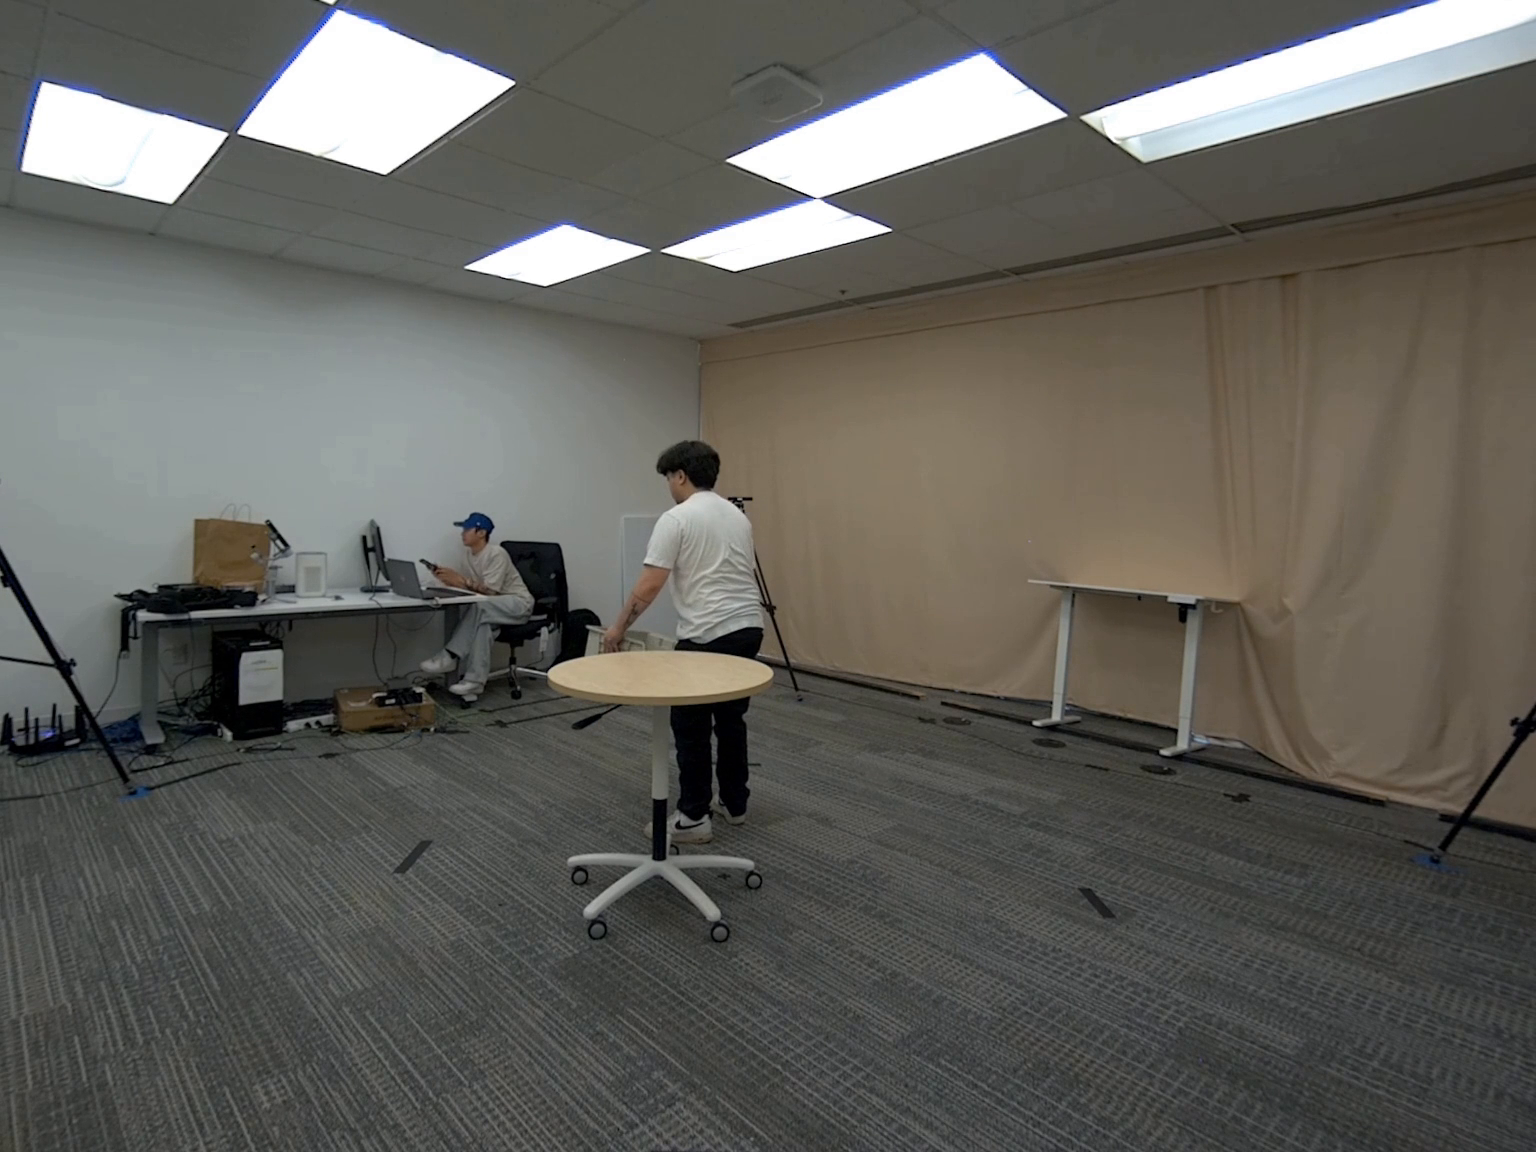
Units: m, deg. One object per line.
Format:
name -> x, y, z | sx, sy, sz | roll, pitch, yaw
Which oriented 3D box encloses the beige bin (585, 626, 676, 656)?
beige bin -> -0.537, 0.362, 3.719 | 0.387, 0.189, 0.411 | 11, -1, 35
